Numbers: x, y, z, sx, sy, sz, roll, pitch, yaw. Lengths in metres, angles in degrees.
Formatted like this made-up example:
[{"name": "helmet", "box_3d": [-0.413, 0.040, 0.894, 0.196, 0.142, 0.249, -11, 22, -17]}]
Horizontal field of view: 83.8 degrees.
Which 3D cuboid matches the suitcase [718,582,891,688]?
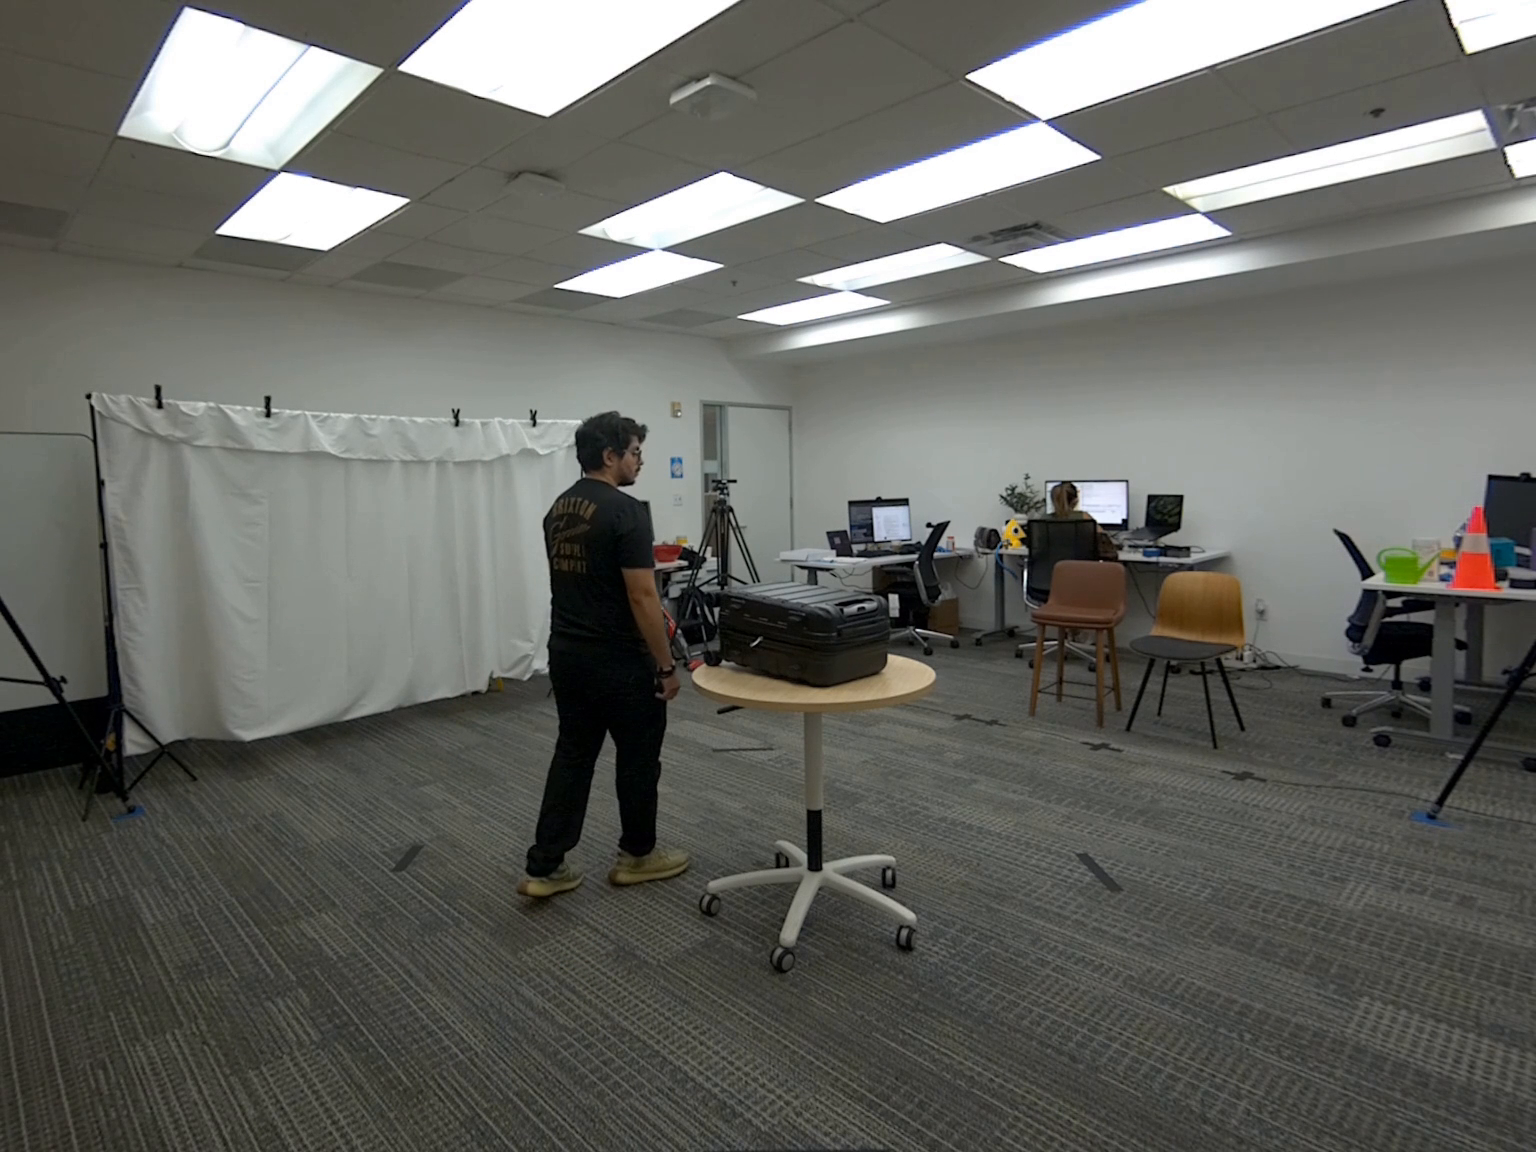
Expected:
[{"name": "suitcase", "box_3d": [0.106, 0.177, 2.758, 0.567, 0.247, 0.366, 7, 10, 44]}]
